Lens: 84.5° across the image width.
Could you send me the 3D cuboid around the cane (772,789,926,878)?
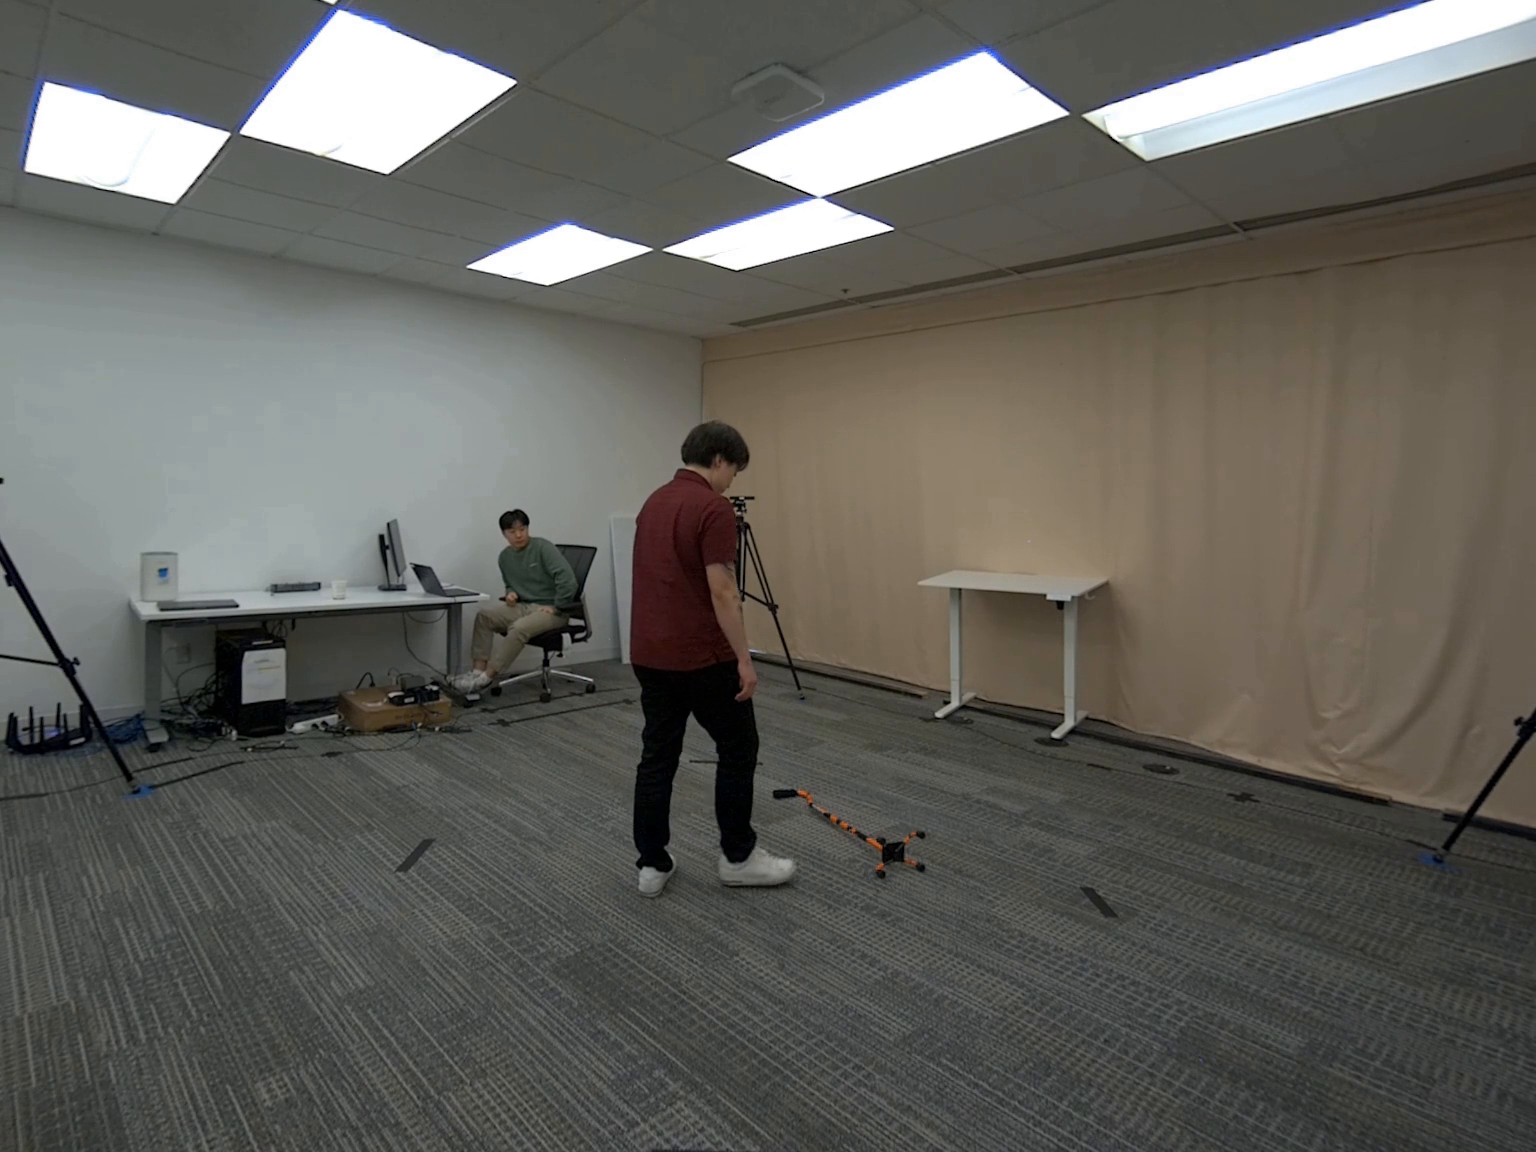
[{"bbox_3d":[0.296,1.019,3.554,0.203,0.151,0.925,2,1,-25],"label":"cane"}]
